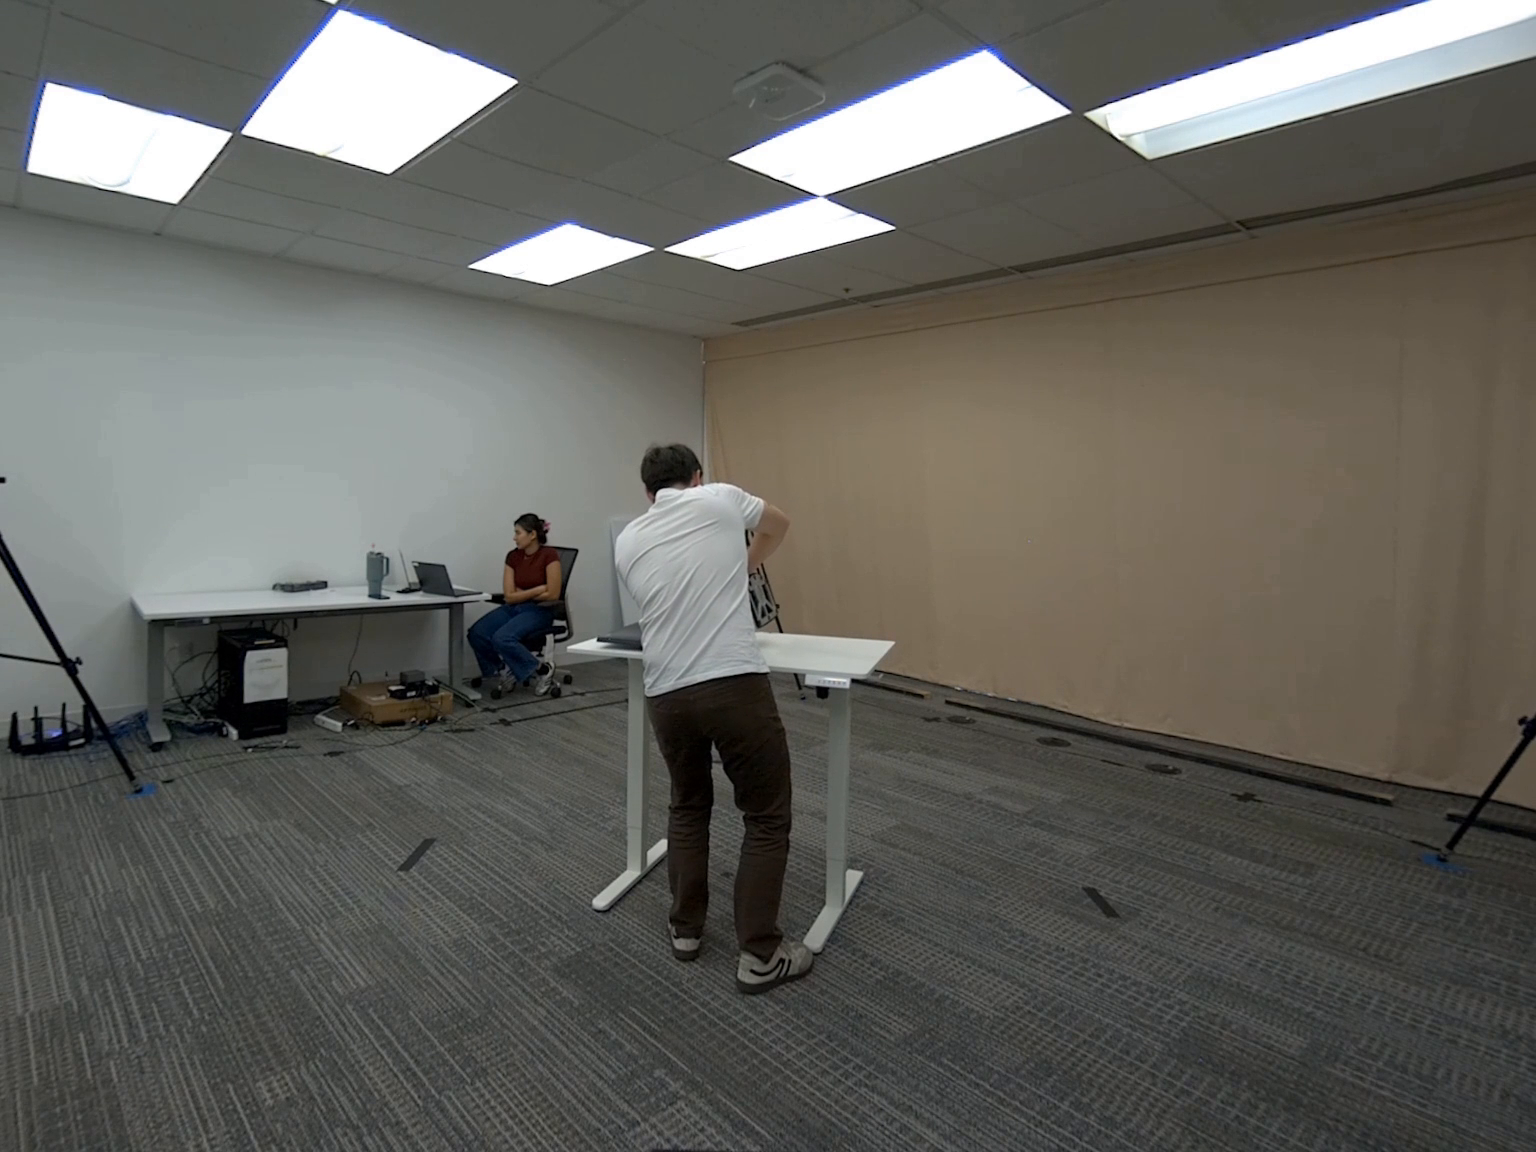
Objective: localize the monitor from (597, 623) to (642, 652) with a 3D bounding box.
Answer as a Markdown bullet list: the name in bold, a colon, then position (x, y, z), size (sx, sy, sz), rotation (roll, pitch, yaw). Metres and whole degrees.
- **monitor**: position (-0.261, 0.156, 2.970), size (0.527, 0.188, 0.532), rotation (-17, -2, 17)
